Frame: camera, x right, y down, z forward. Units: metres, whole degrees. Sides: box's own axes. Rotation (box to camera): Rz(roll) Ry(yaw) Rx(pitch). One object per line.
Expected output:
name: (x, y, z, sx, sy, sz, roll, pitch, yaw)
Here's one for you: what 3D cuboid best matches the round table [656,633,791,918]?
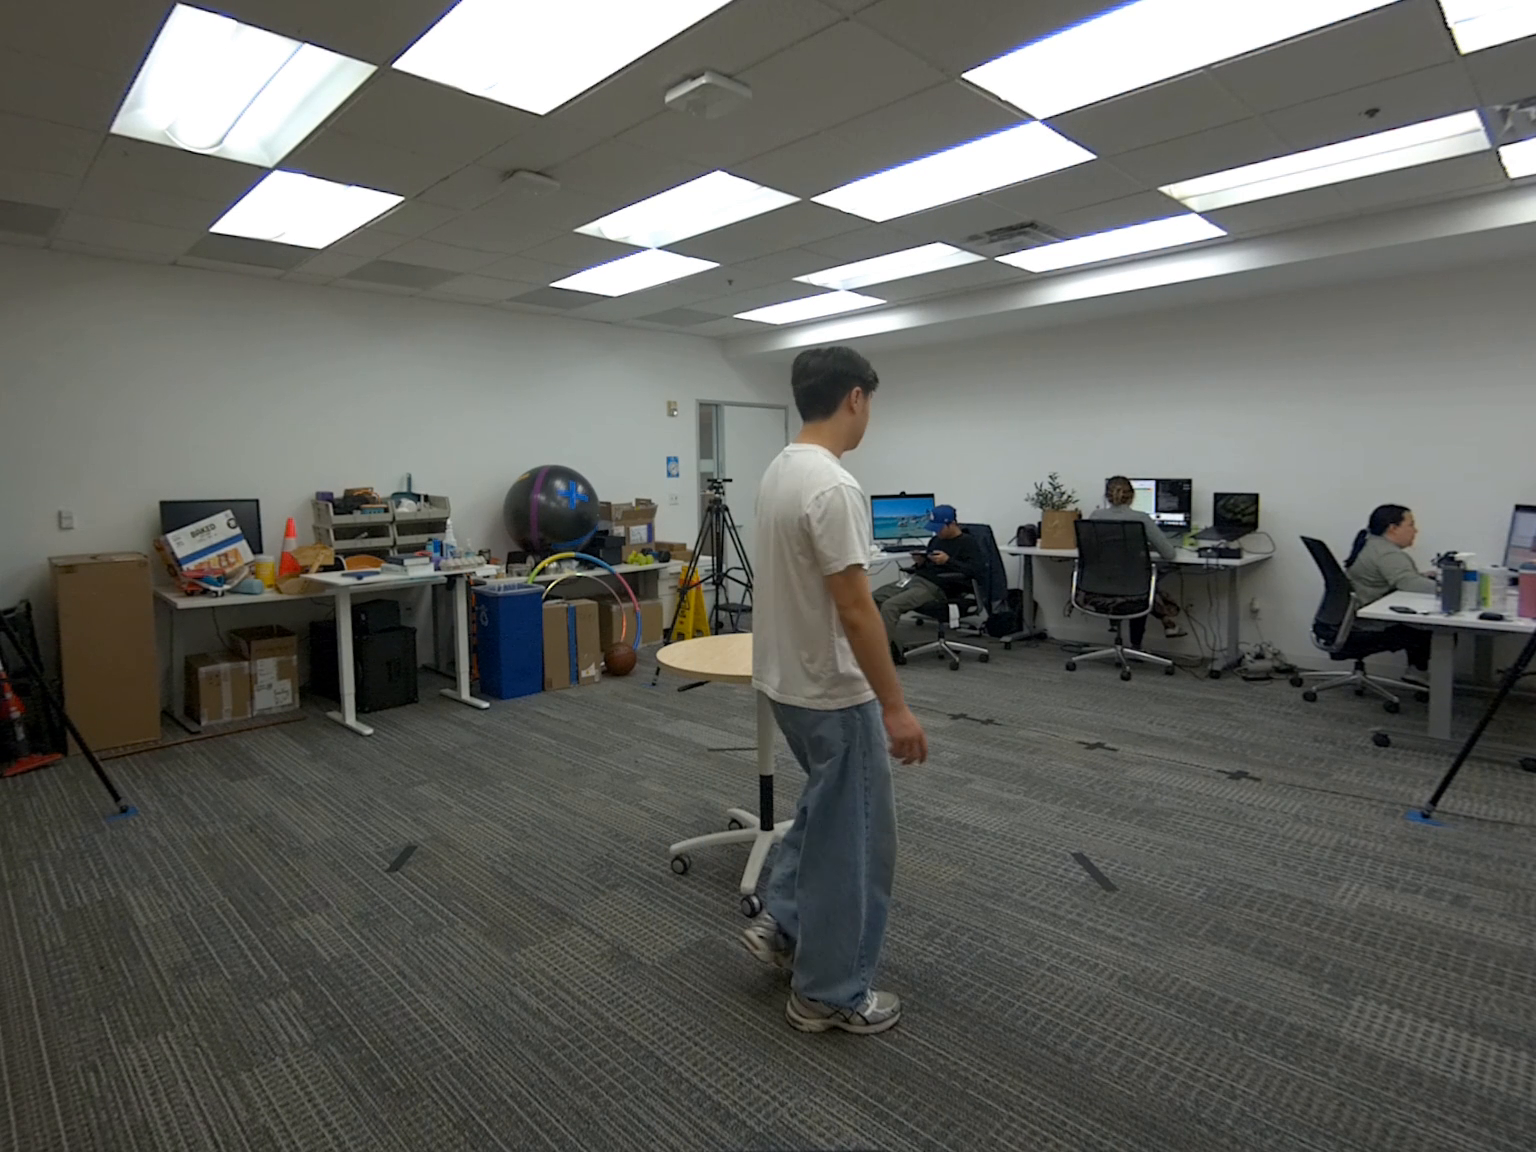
round table: (-0.007, 0.661, 3.057, 0.763, 0.791, 0.768, -1, 4, -2)
